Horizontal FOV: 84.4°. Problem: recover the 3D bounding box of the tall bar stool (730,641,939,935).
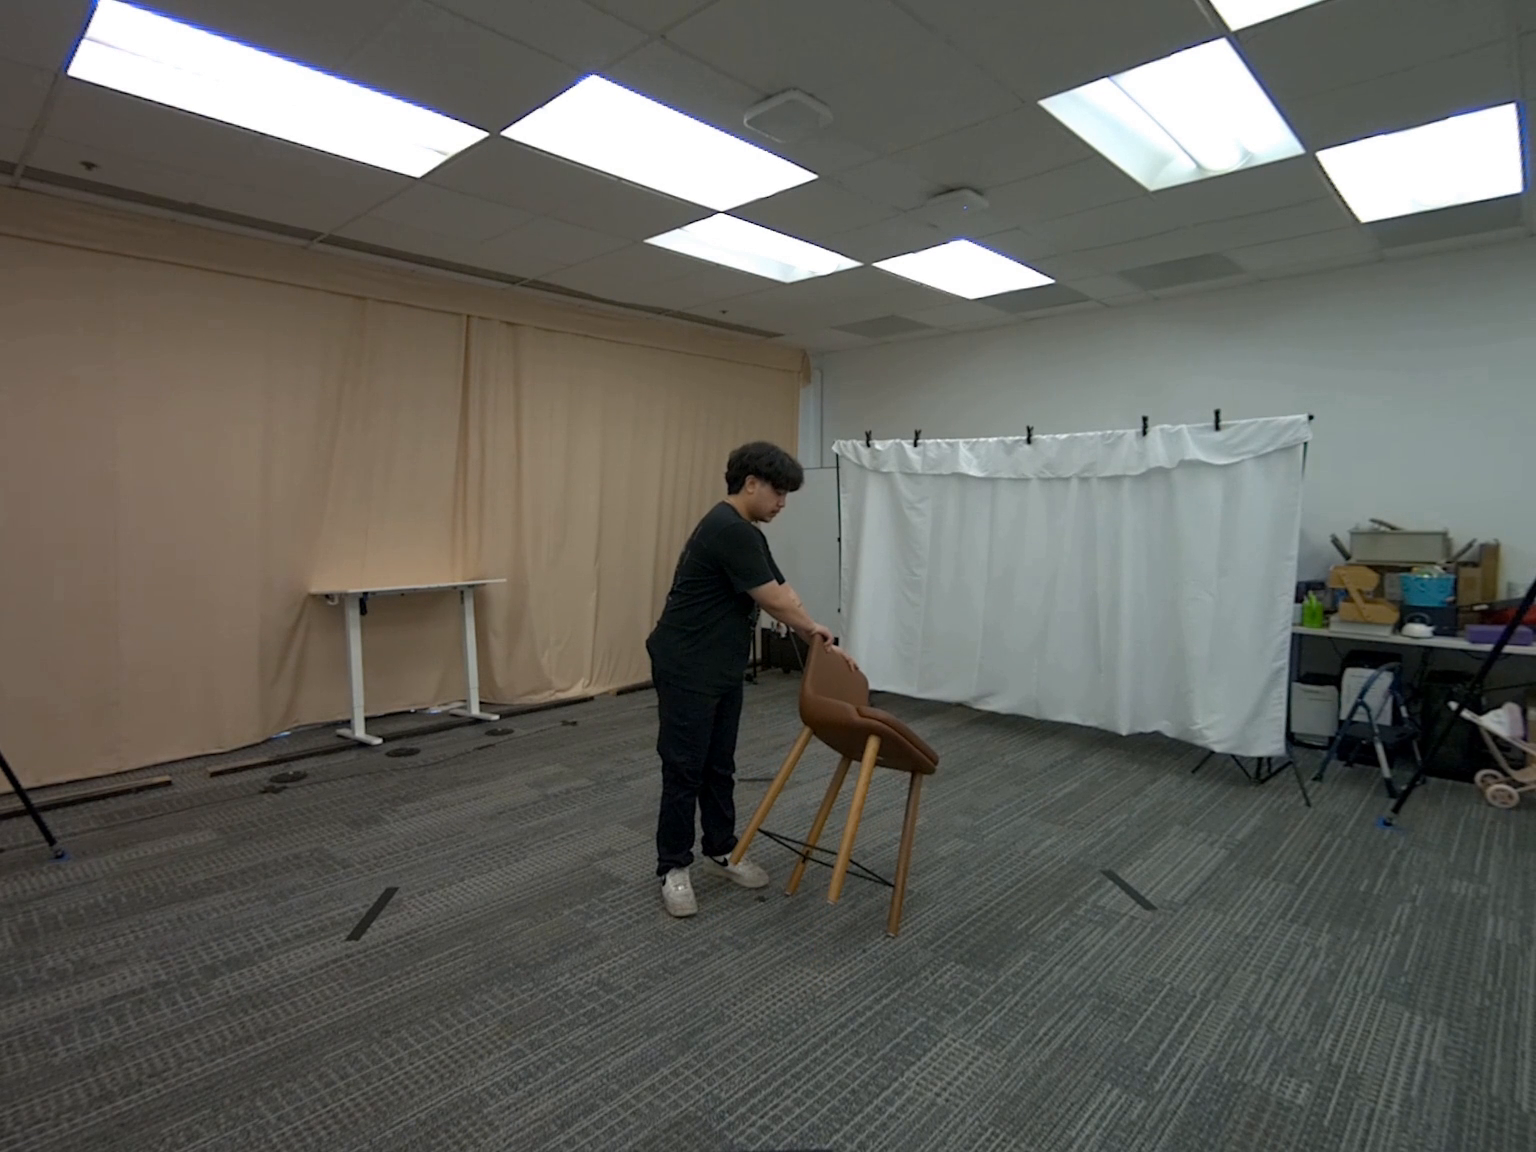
[{"bbox_3d":[0.289,0.684,2.917,0.482,0.893,0.440,-2,-32,42],"label":"tall bar stool"}]
